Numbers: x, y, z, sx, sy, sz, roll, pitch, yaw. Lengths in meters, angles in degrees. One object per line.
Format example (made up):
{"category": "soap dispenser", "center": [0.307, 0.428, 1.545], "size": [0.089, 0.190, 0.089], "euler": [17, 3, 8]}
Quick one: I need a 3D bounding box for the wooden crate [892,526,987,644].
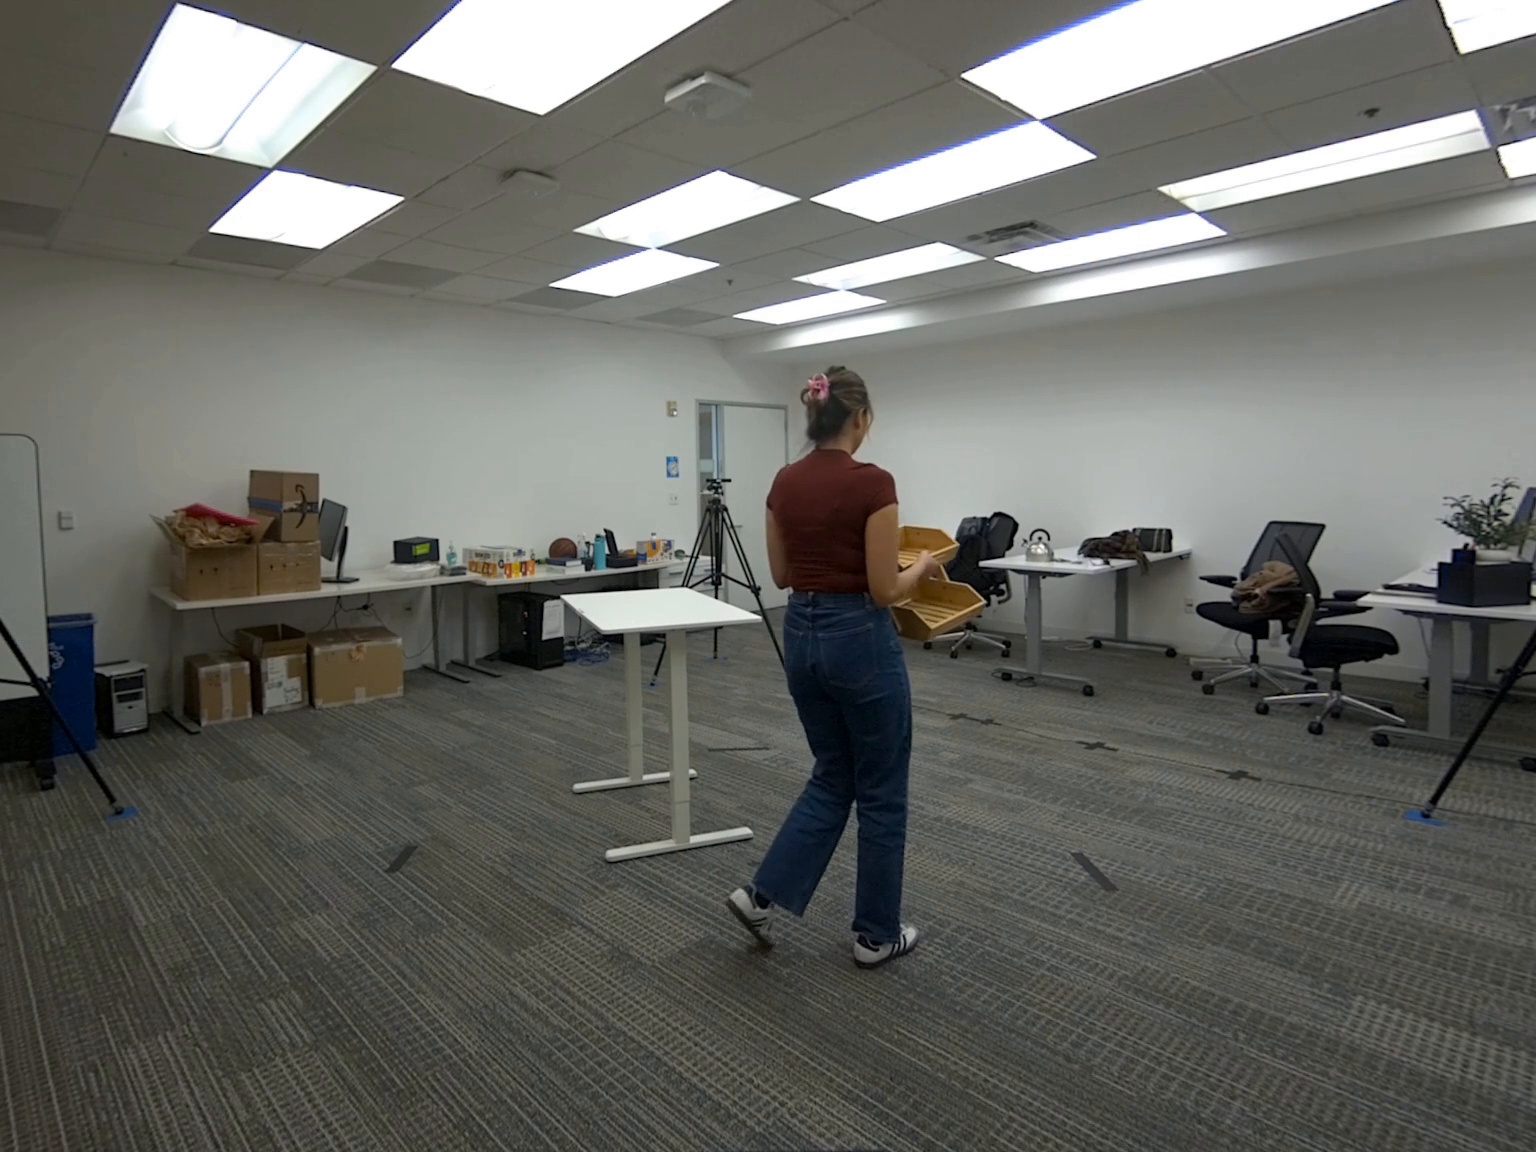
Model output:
{"category": "wooden crate", "center": [0.458, 0.009, 2.634], "size": [0.318, 0.270, 0.312], "euler": [-17, 18, -42]}
